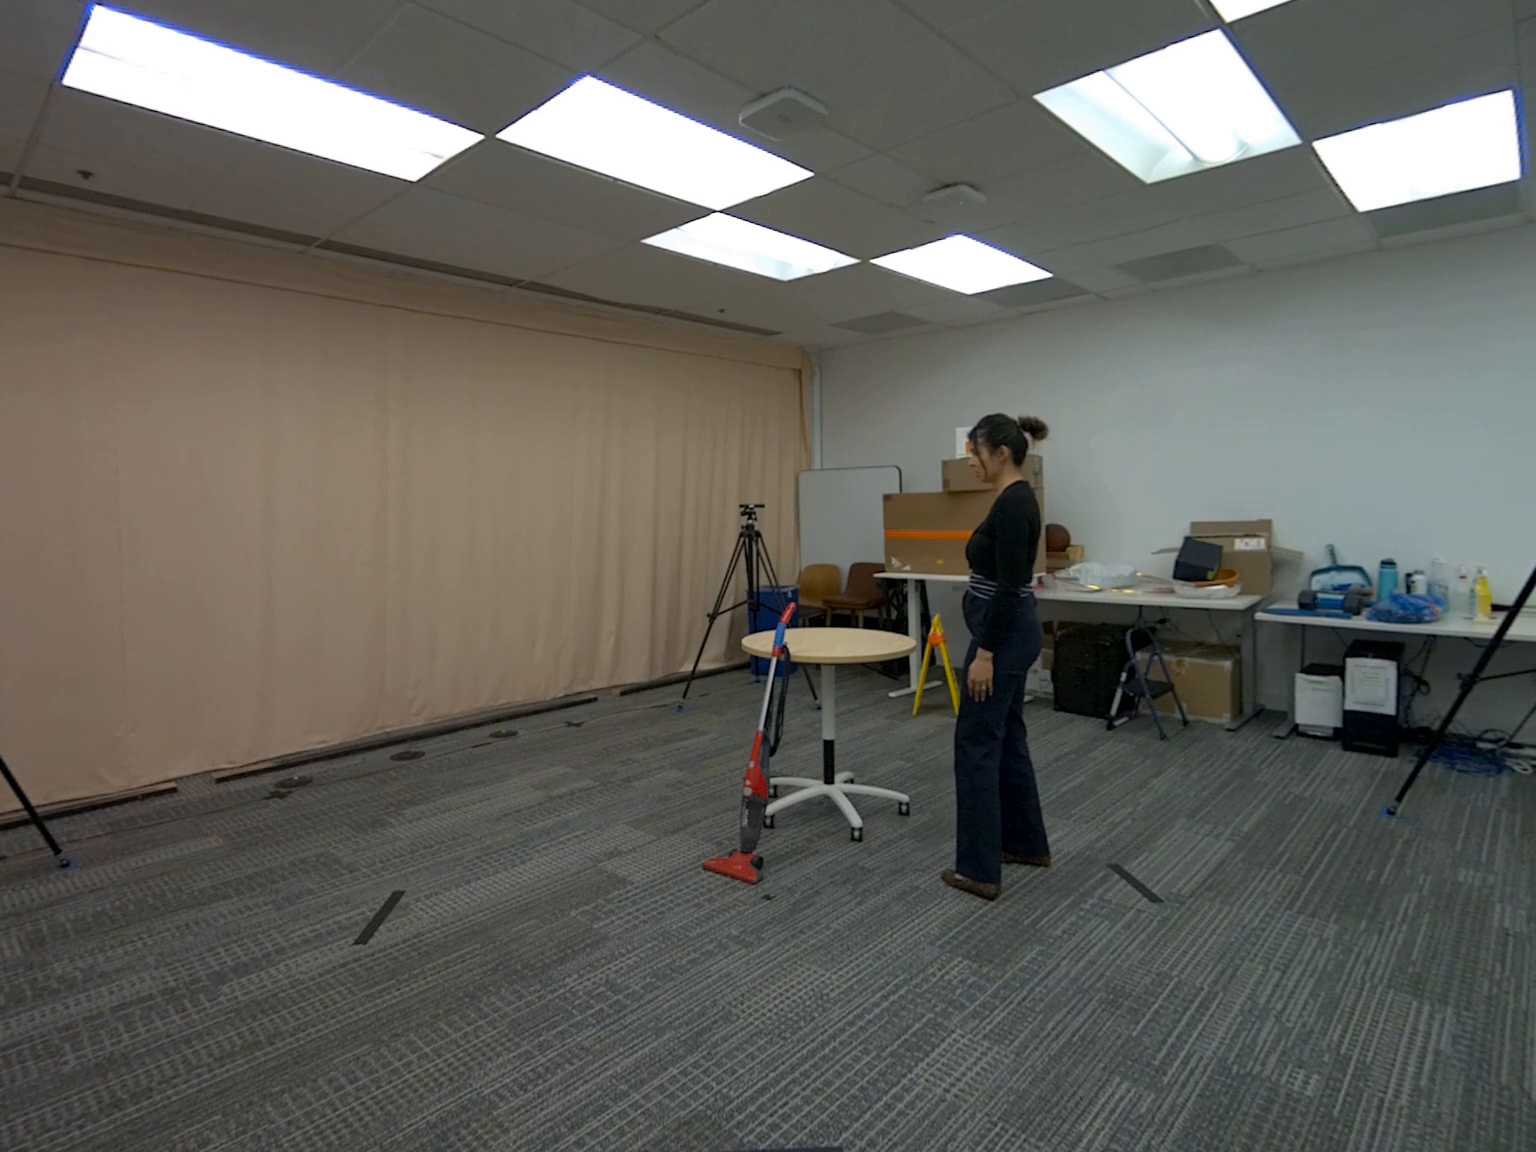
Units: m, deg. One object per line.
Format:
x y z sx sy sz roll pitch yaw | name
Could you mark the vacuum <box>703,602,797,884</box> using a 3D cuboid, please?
-0.006 0.625 3.346 0.261 1.055 0.139 1 -18 38 | vacuum
